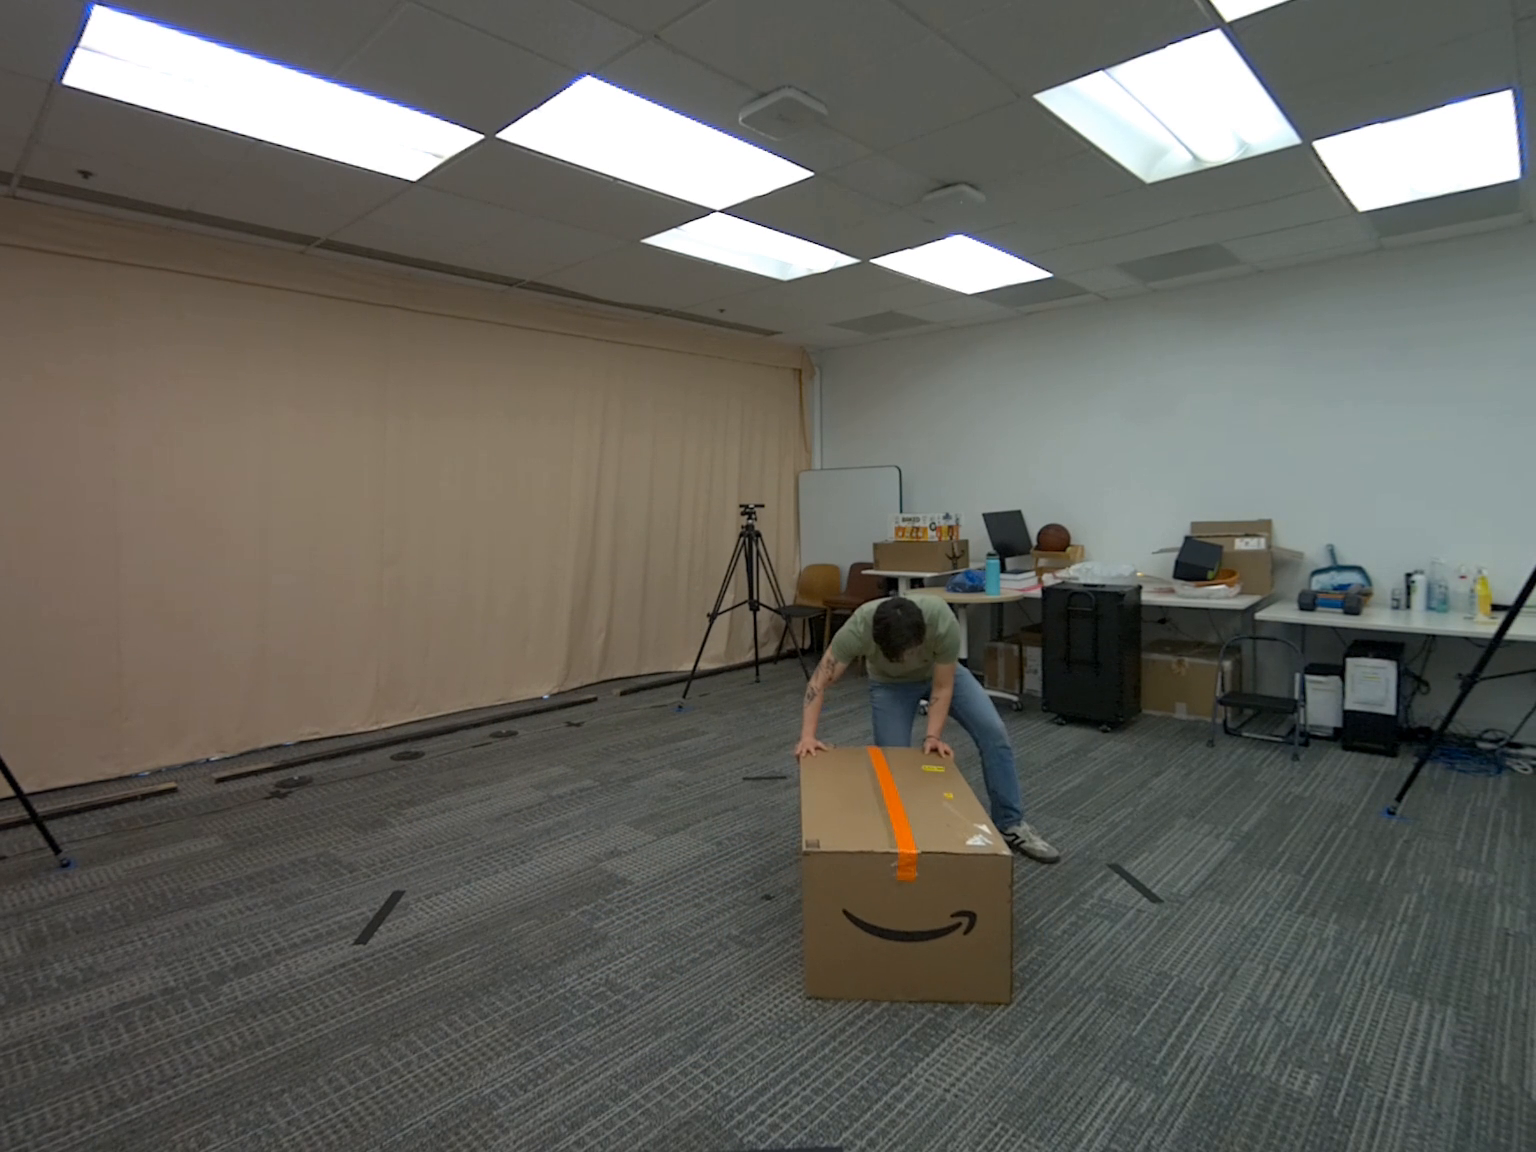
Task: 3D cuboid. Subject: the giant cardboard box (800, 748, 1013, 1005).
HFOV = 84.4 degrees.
[{"bbox_3d":[0.402,0.930,2.835,0.580,0.425,1.024,0,4,2],"label":"giant cardboard box"}]
